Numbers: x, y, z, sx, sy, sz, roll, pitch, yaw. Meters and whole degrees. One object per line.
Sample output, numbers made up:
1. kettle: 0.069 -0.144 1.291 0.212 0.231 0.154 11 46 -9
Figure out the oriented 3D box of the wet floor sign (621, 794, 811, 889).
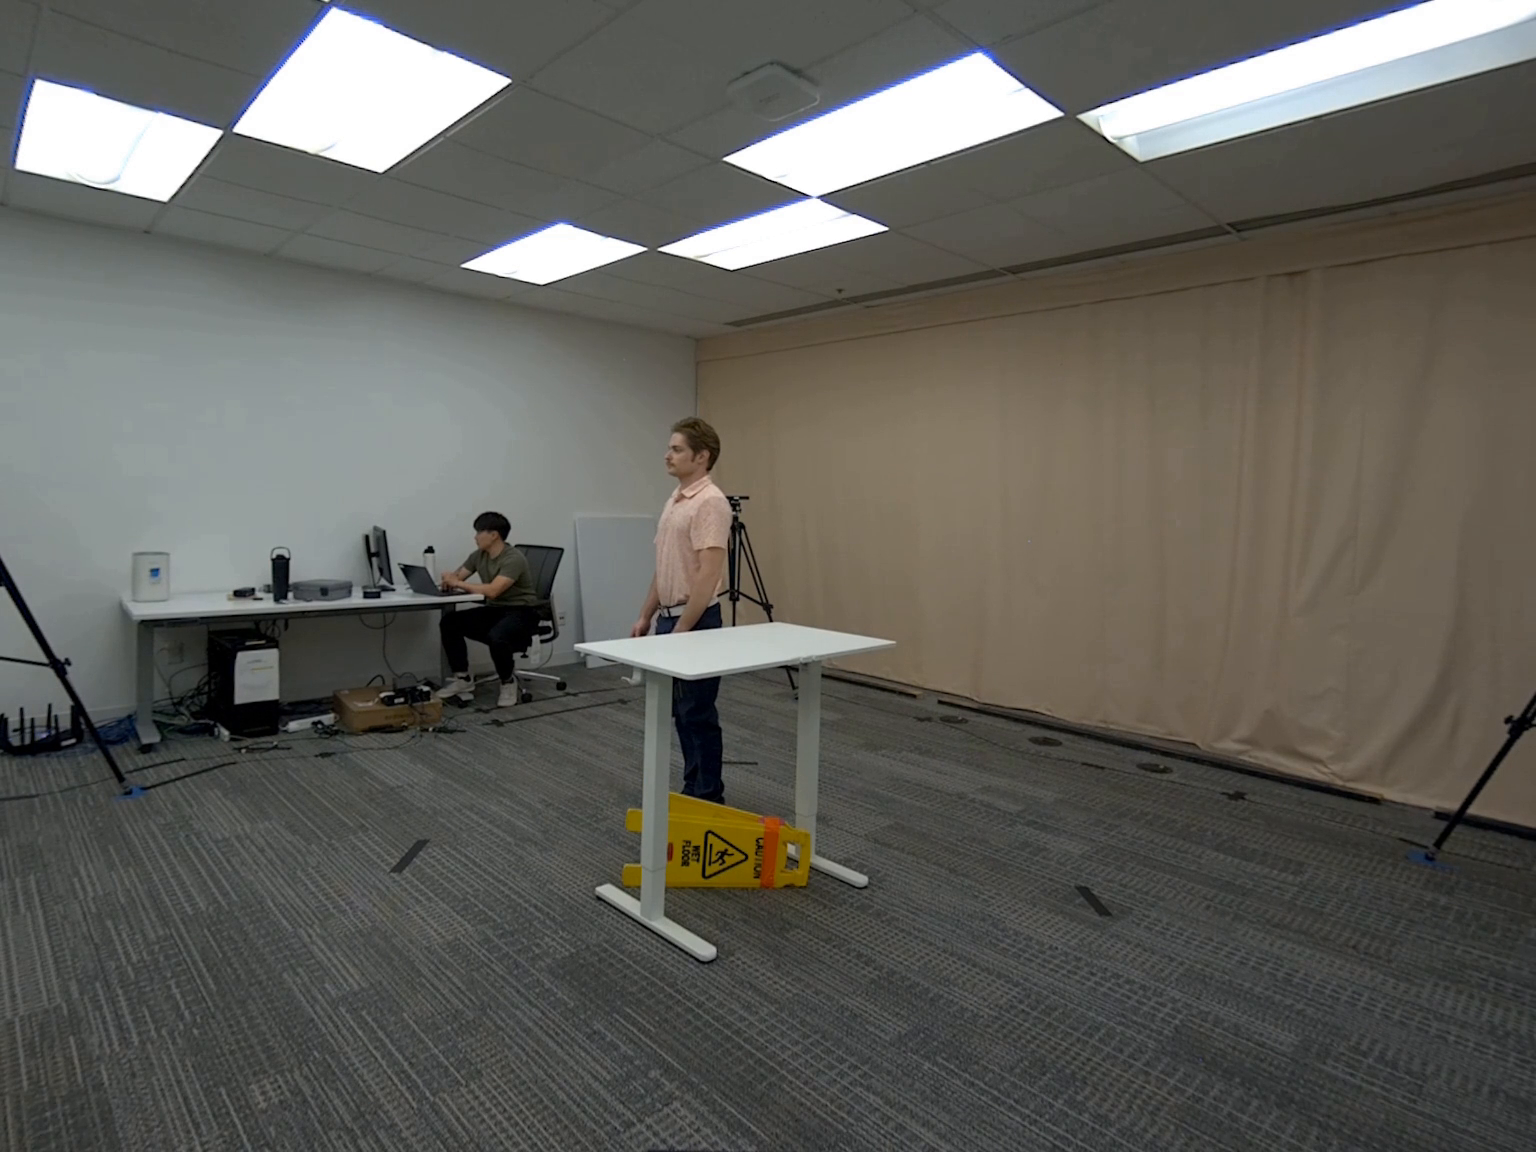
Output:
1. wet floor sign: -0.177 0.980 3.060 0.652 0.281 0.288 6 5 10
